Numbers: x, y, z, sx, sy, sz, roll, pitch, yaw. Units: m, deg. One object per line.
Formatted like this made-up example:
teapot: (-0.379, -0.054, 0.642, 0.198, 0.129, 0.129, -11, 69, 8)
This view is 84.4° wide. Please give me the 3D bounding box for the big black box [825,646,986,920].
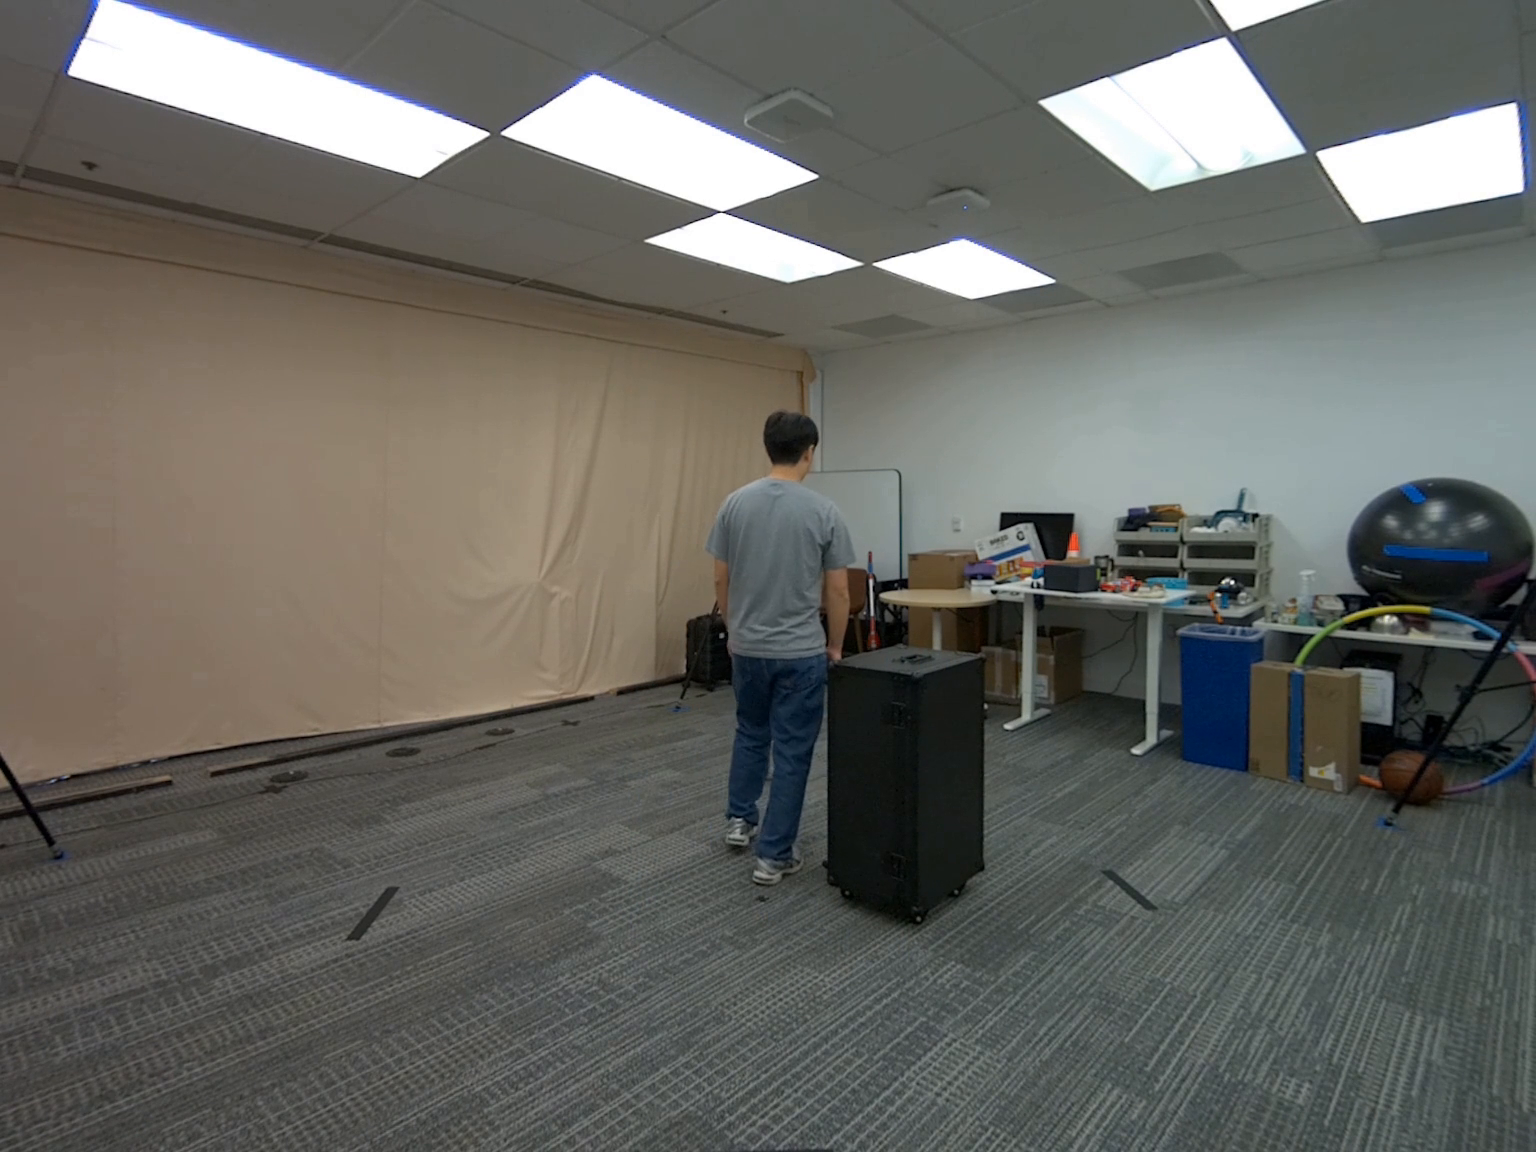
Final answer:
big black box: (0.494, 0.717, 2.979, 0.409, 0.860, 0.505, 1, 3, 41)
